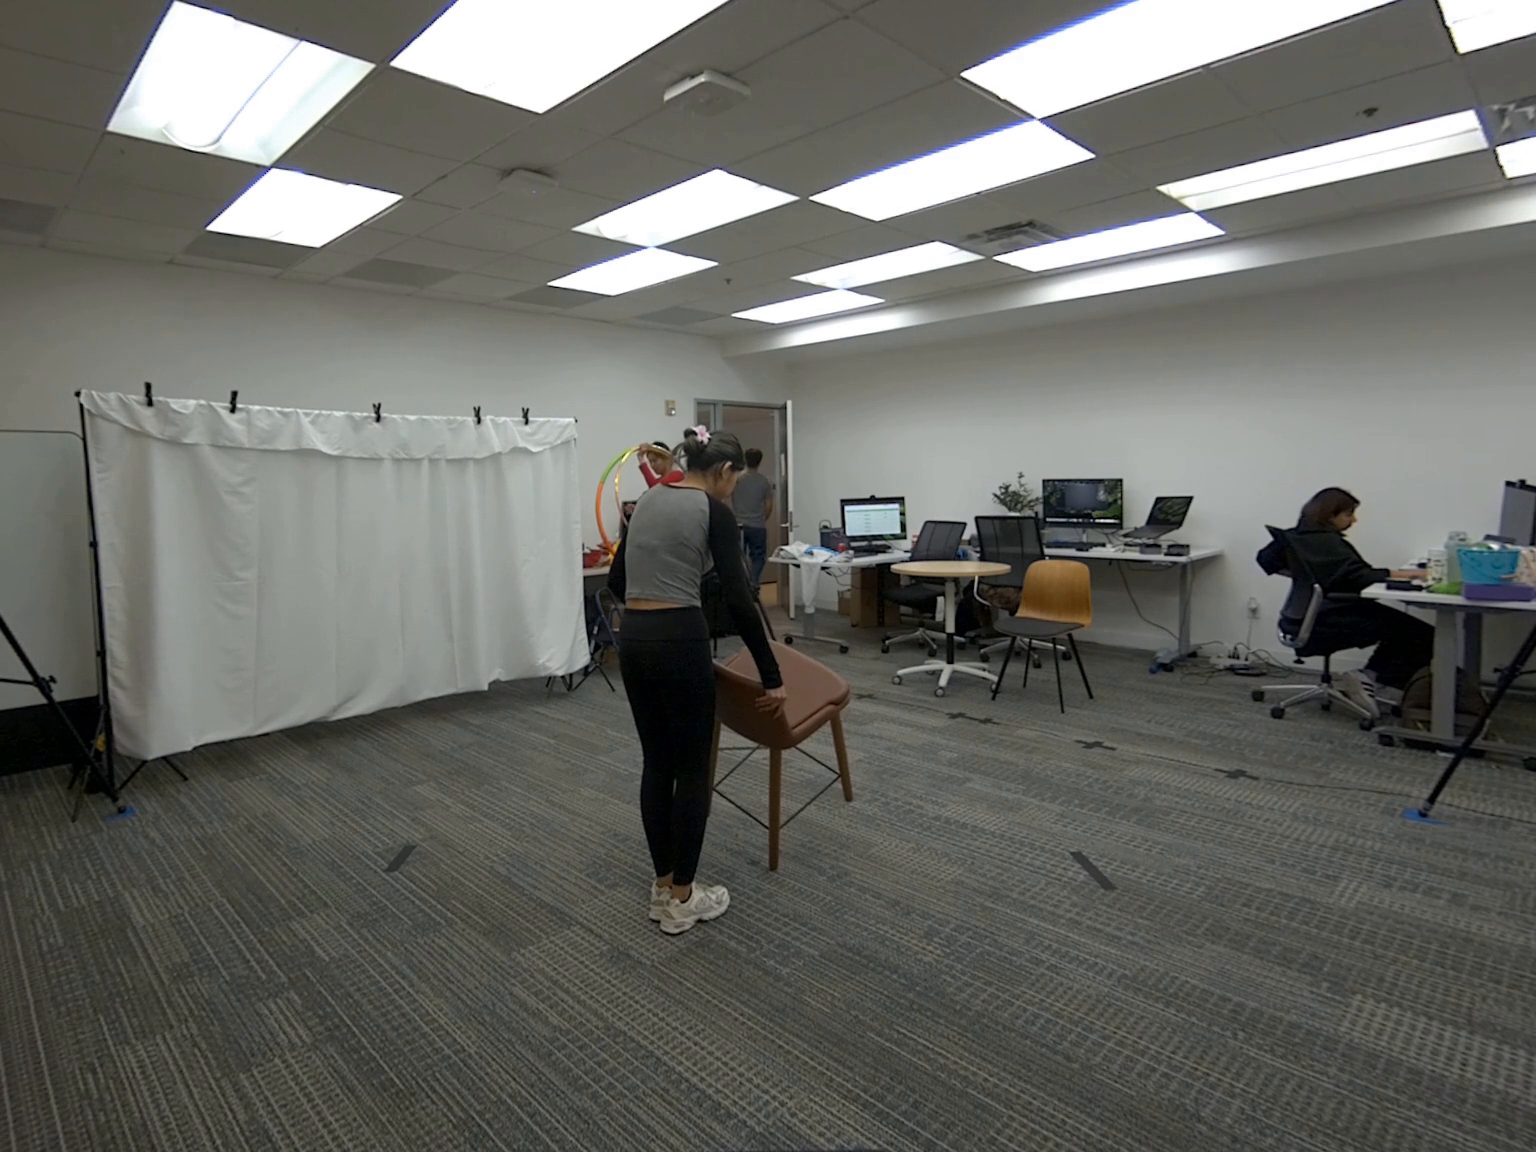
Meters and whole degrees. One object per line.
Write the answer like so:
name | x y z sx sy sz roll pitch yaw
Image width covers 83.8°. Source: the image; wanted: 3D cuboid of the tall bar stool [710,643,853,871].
tall bar stool | 0.007 0.533 3.060 0.473 0.865 0.463 25 44 37
